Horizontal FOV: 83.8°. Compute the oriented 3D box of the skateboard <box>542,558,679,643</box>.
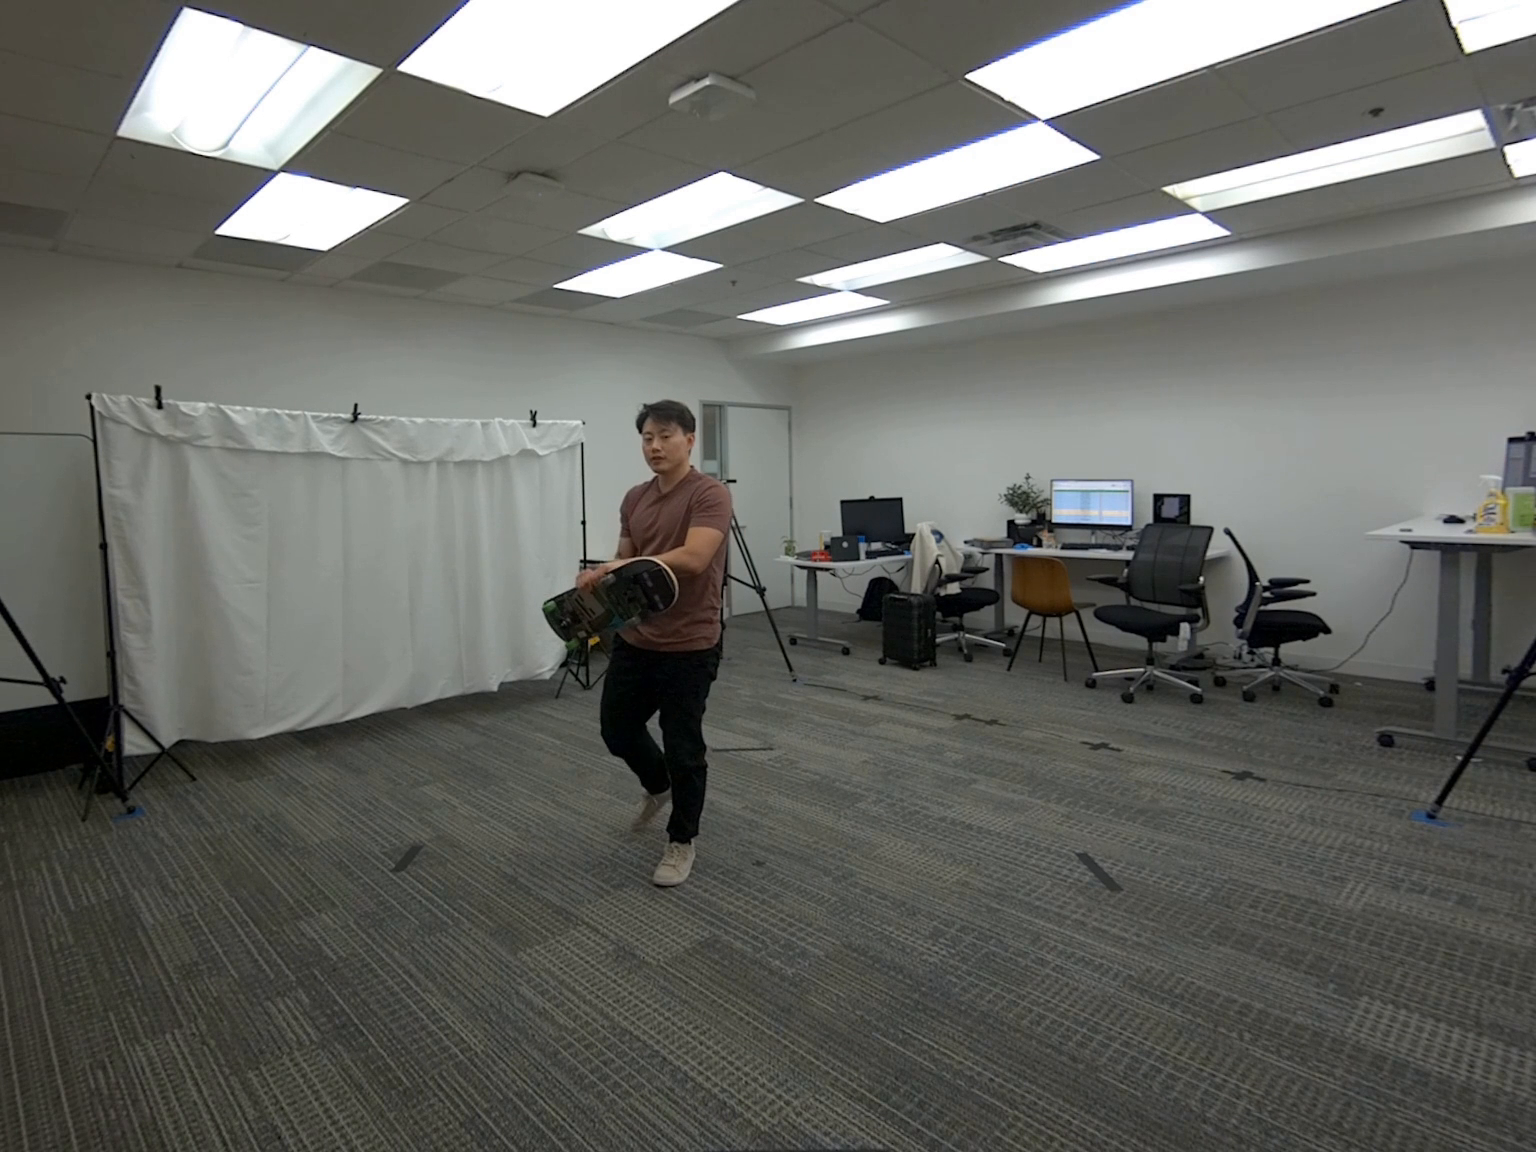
[{"bbox_3d":[-0.581,0.116,2.868,0.798,0.192,0.109,-21,12,47],"label":"skateboard"}]
